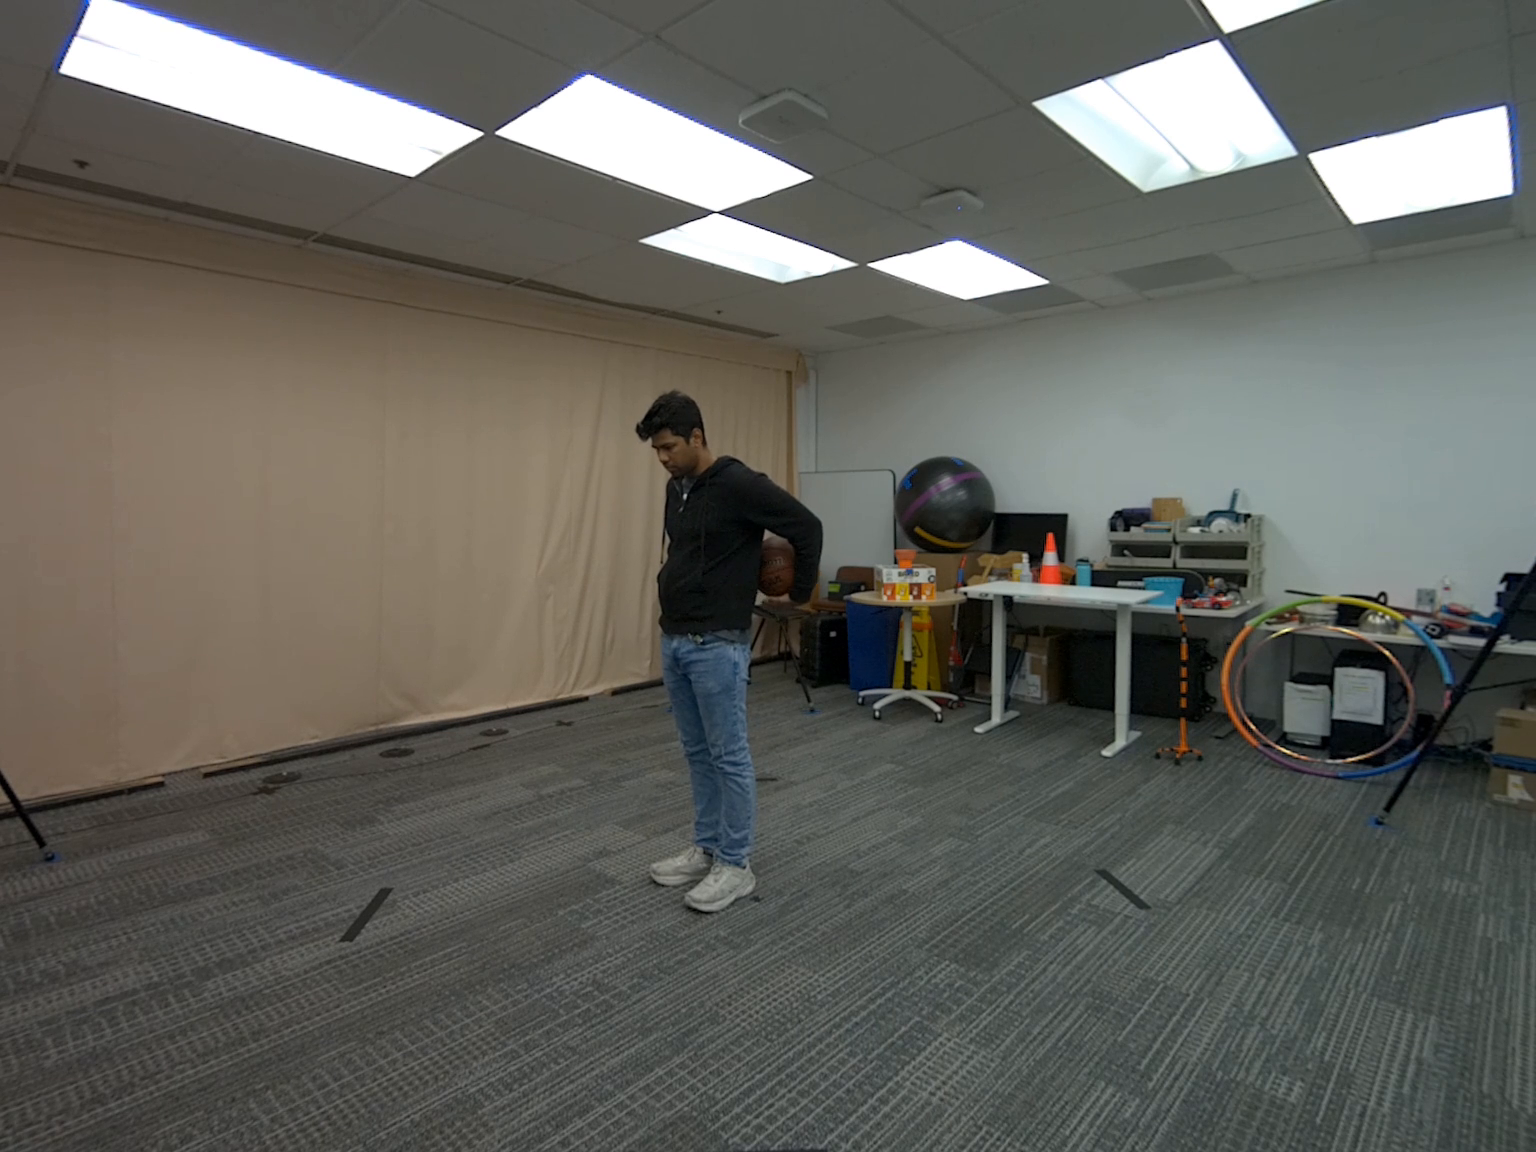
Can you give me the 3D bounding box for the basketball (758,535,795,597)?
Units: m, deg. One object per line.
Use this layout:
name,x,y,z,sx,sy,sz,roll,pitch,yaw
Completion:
basketball,0.035,-0.036,3.118,0.236,0.235,0.237,0,4,-2
